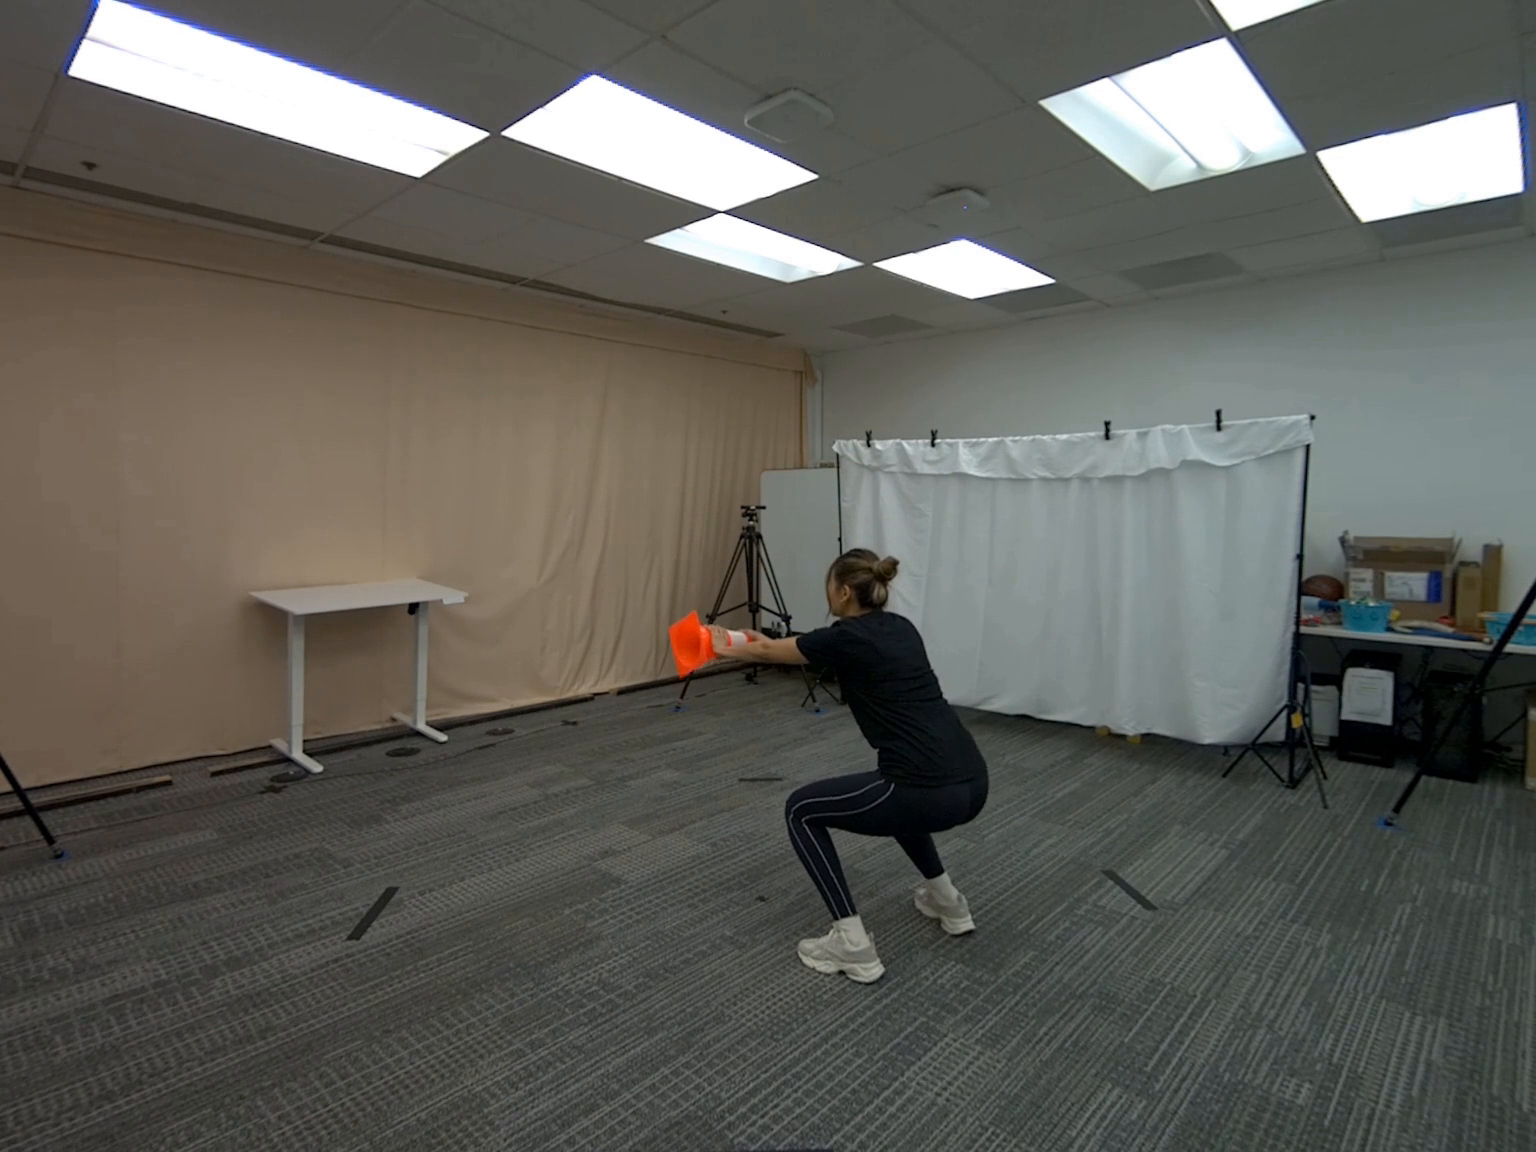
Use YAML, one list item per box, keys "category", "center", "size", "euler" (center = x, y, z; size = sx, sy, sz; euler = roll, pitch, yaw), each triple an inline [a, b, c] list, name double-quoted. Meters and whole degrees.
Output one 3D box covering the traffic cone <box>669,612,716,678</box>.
- category: "traffic cone"
  center: [-0.149, 0.250, 3.222]
  size: [0.372, 0.208, 0.206]
  euler: [3, -26, -37]
